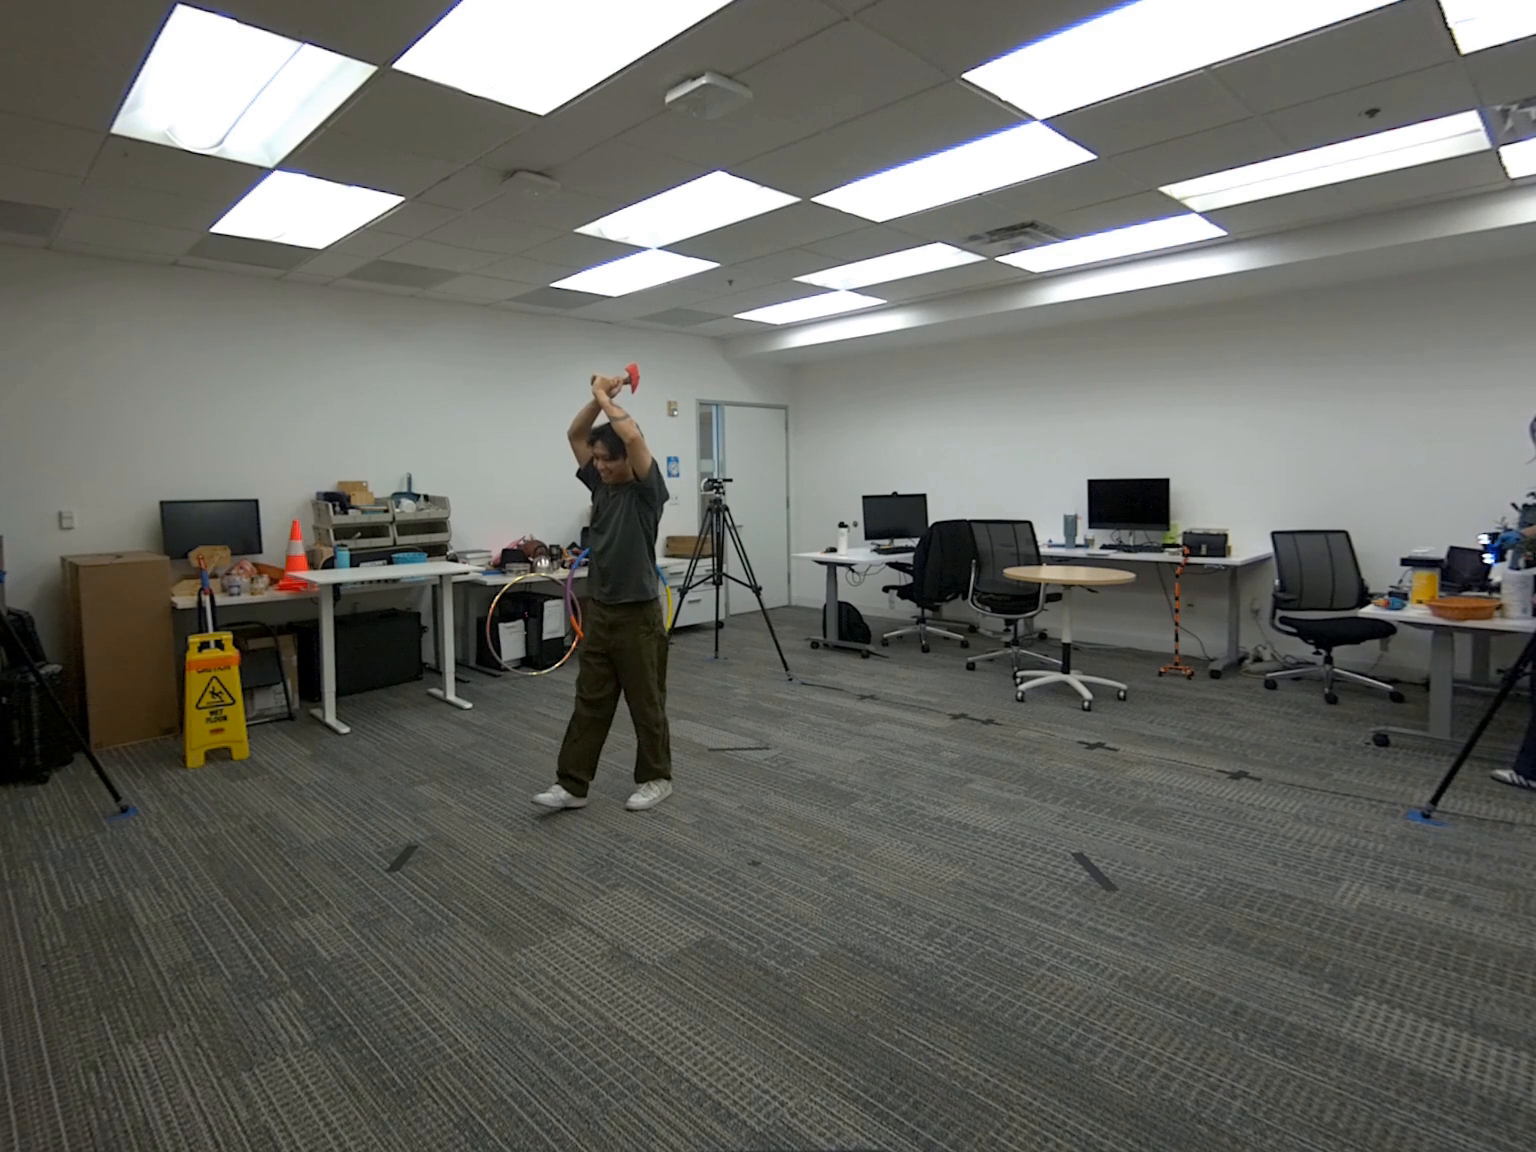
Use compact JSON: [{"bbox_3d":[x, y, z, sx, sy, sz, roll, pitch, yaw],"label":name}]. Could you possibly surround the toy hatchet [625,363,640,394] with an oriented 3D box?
[{"bbox_3d":[-0.625,-0.835,3.536,0.030,0.130,0.262,28,16,31],"label":"toy hatchet"}]
